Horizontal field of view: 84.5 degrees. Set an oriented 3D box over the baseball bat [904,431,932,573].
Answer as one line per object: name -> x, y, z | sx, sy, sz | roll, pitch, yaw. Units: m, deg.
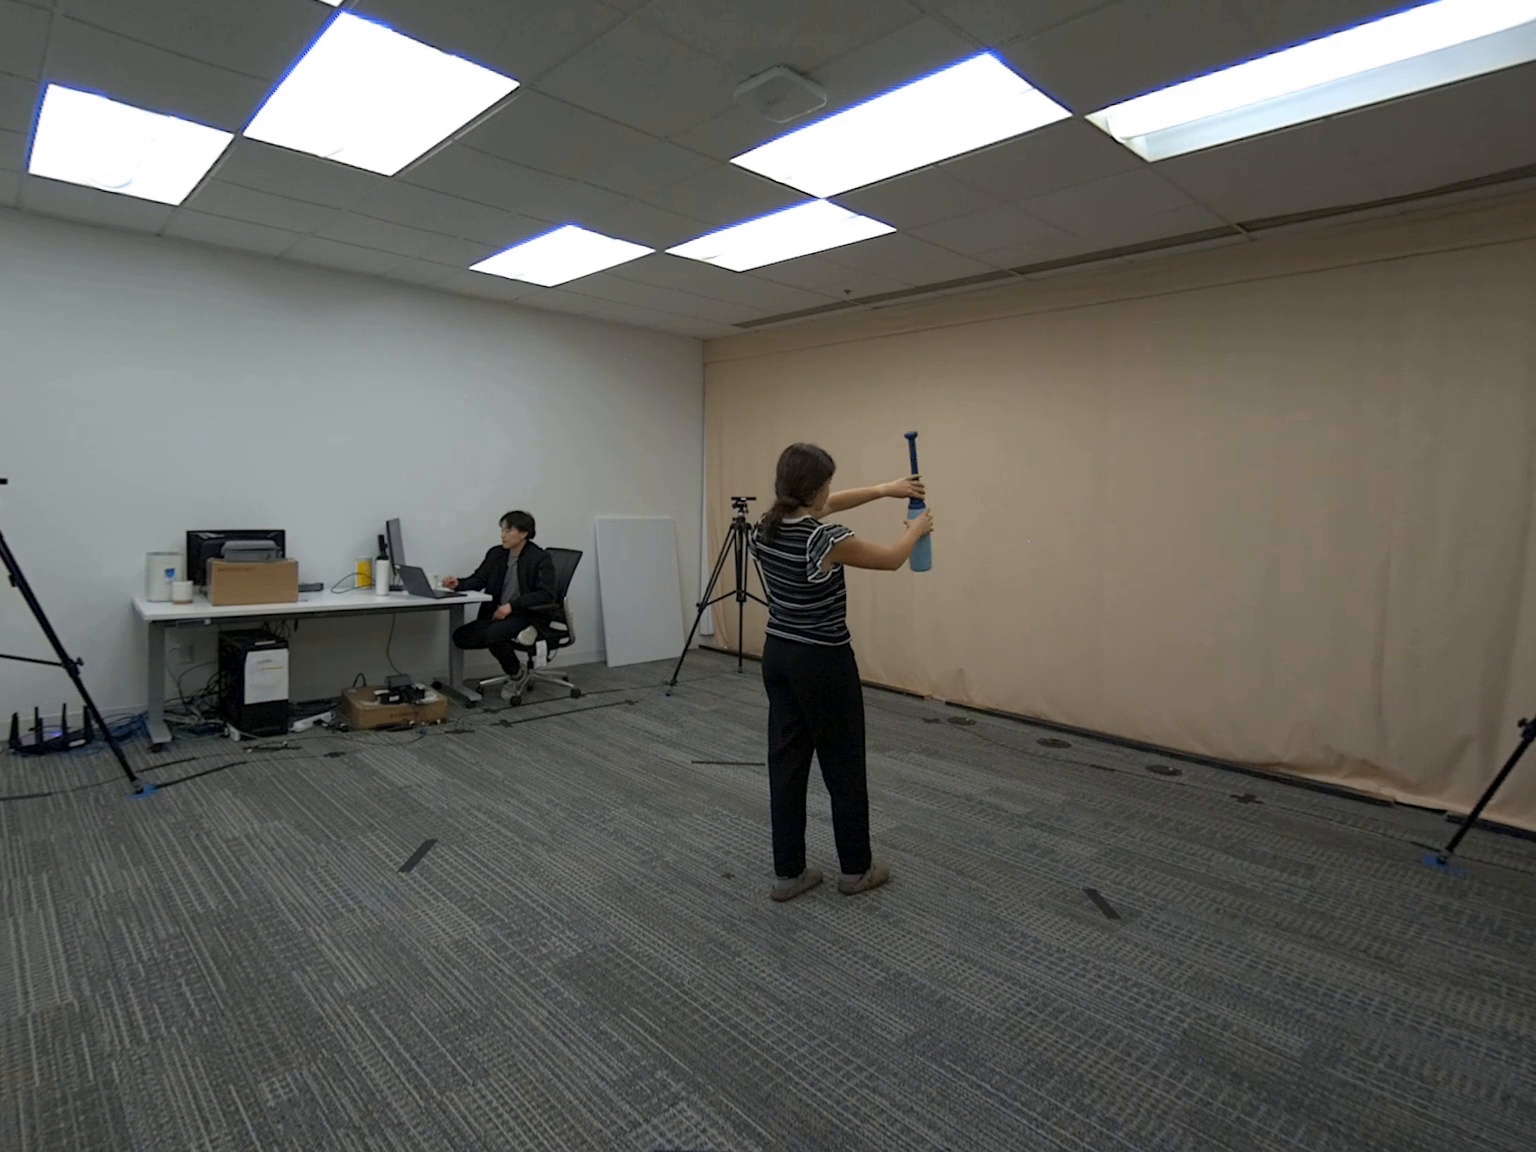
baseball bat -> 0.568, -0.283, 3.201 | 0.089, 0.536, 0.090 | -6, 15, 0
